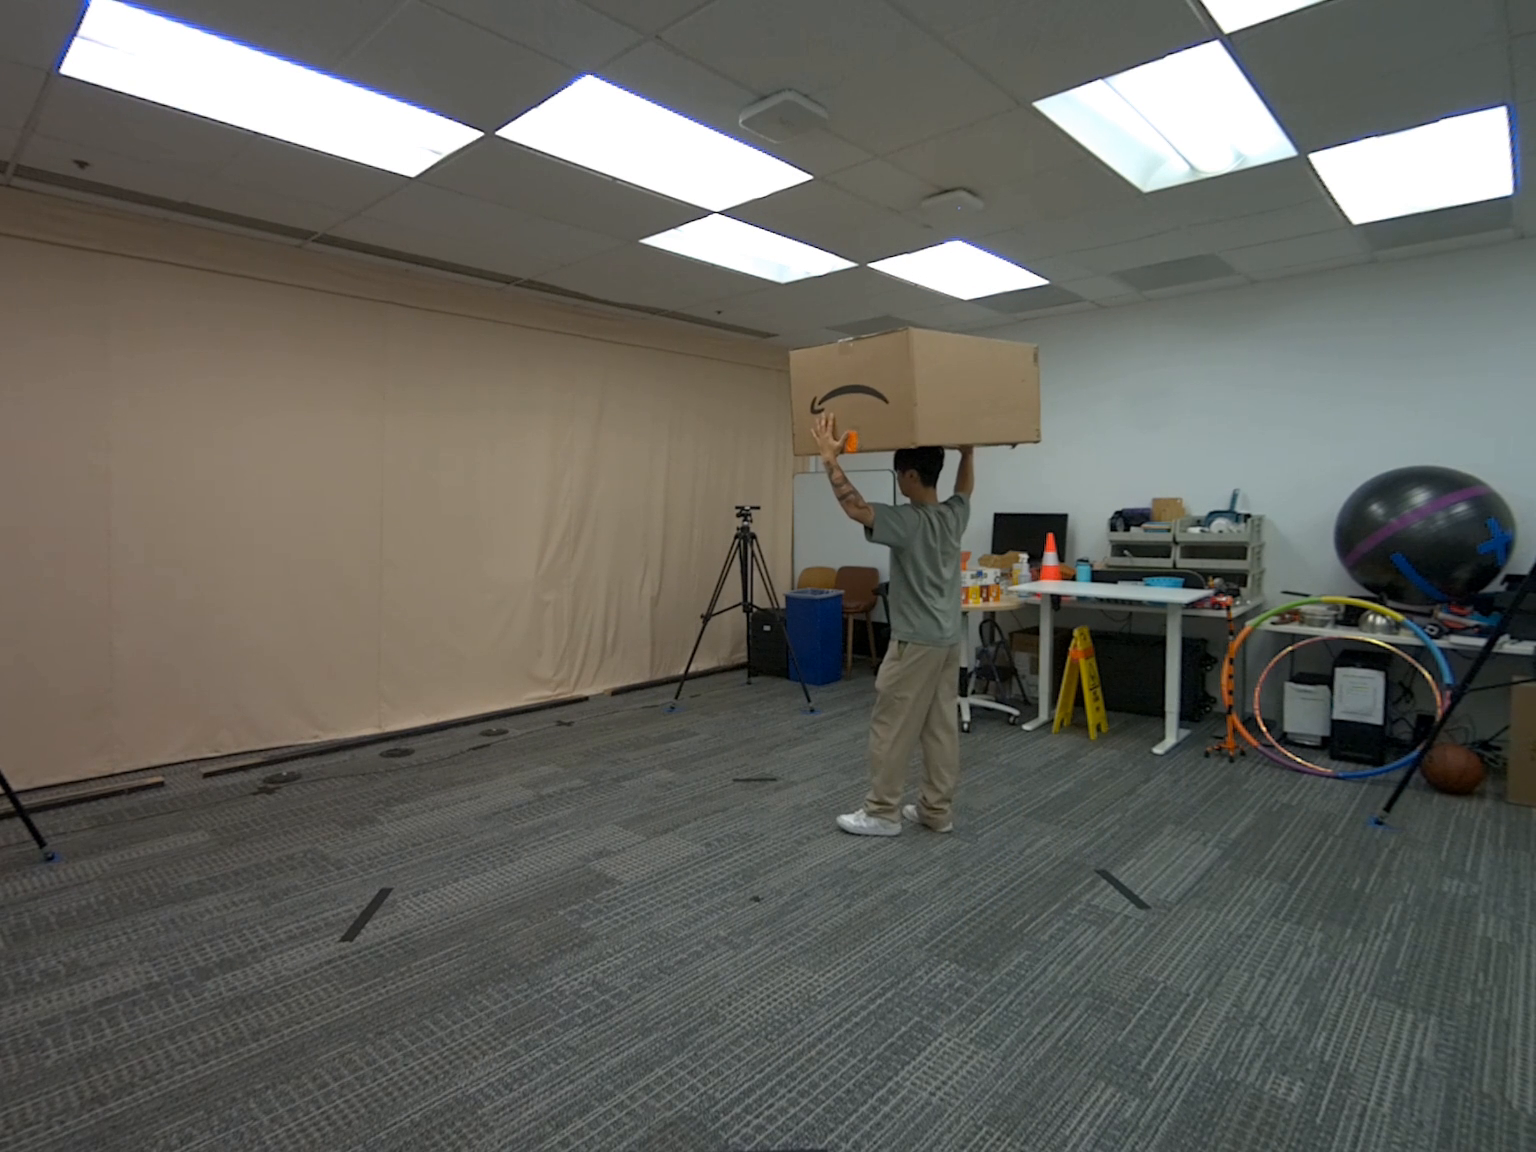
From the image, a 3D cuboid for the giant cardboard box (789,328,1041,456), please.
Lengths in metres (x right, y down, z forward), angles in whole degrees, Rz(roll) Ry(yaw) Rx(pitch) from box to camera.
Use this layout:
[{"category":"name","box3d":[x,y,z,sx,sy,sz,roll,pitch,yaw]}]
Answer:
[{"category":"giant cardboard box","box3d":[0.642,-0.738,3.533,0.597,0.424,0.997,3,9,44]}]
